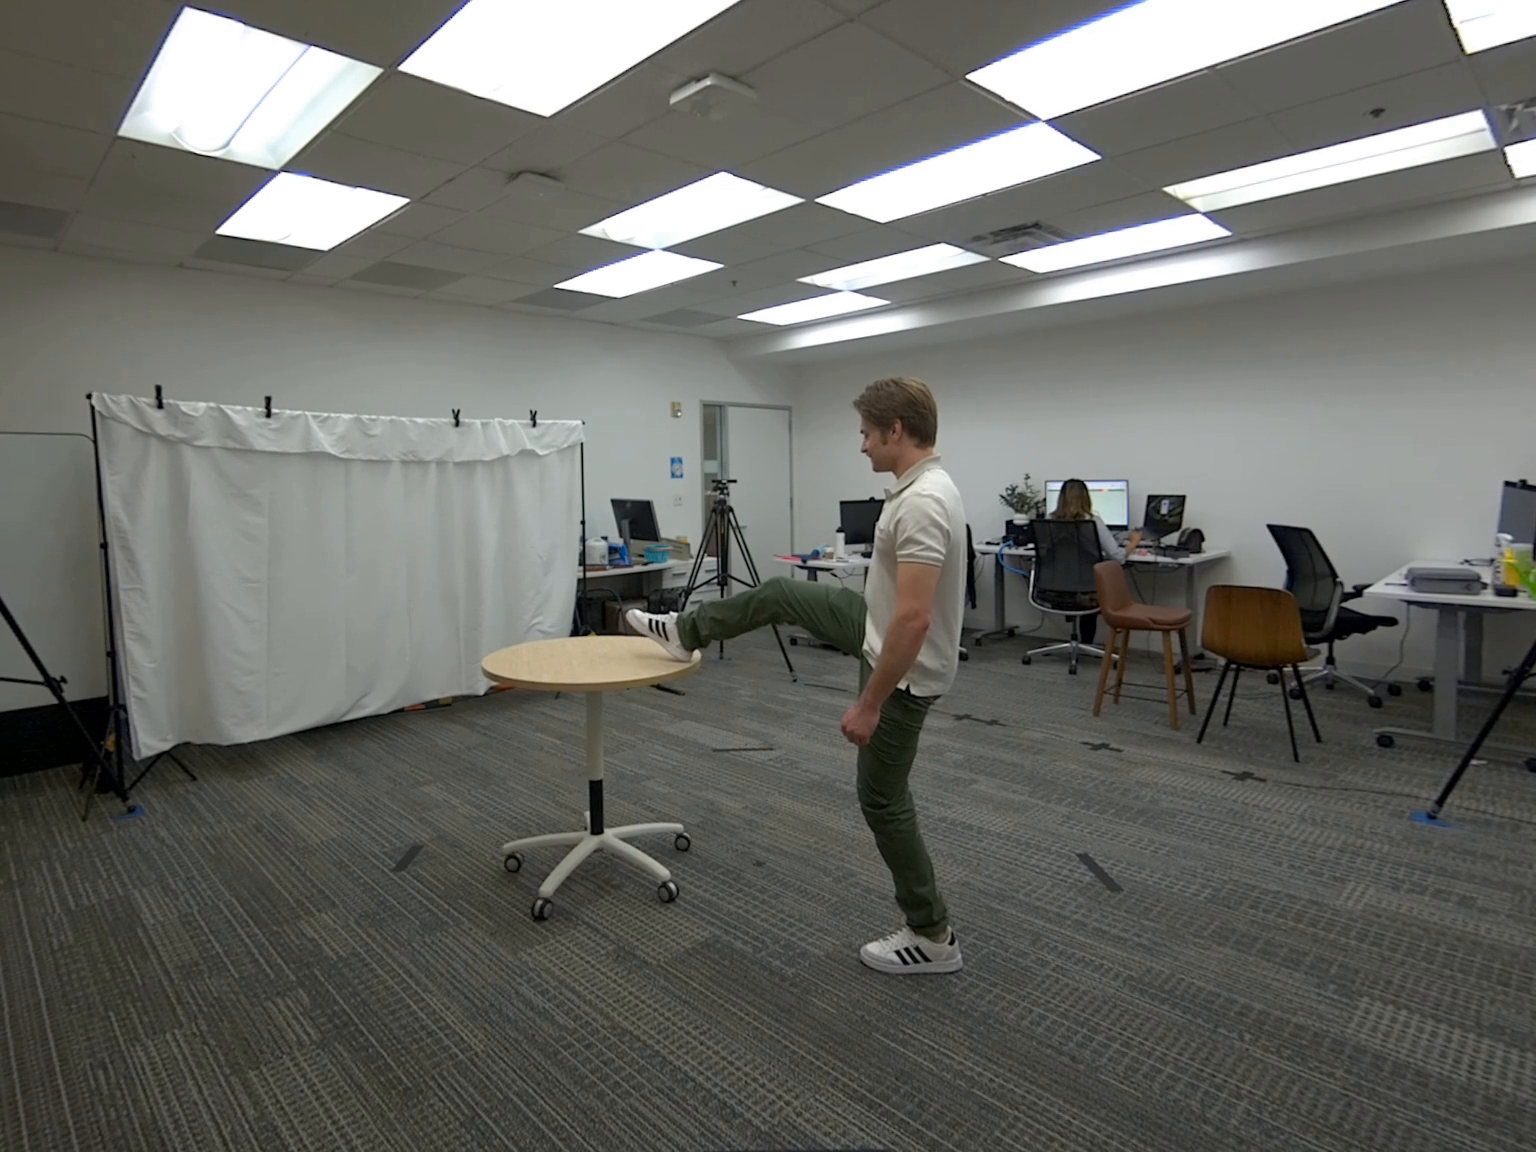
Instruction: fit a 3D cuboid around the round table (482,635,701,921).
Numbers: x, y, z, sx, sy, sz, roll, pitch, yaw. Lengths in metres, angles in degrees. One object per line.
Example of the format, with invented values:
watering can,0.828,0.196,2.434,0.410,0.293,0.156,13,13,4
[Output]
round table,-0.609,0.675,3.055,0.763,0.791,0.768,-1,5,-2
